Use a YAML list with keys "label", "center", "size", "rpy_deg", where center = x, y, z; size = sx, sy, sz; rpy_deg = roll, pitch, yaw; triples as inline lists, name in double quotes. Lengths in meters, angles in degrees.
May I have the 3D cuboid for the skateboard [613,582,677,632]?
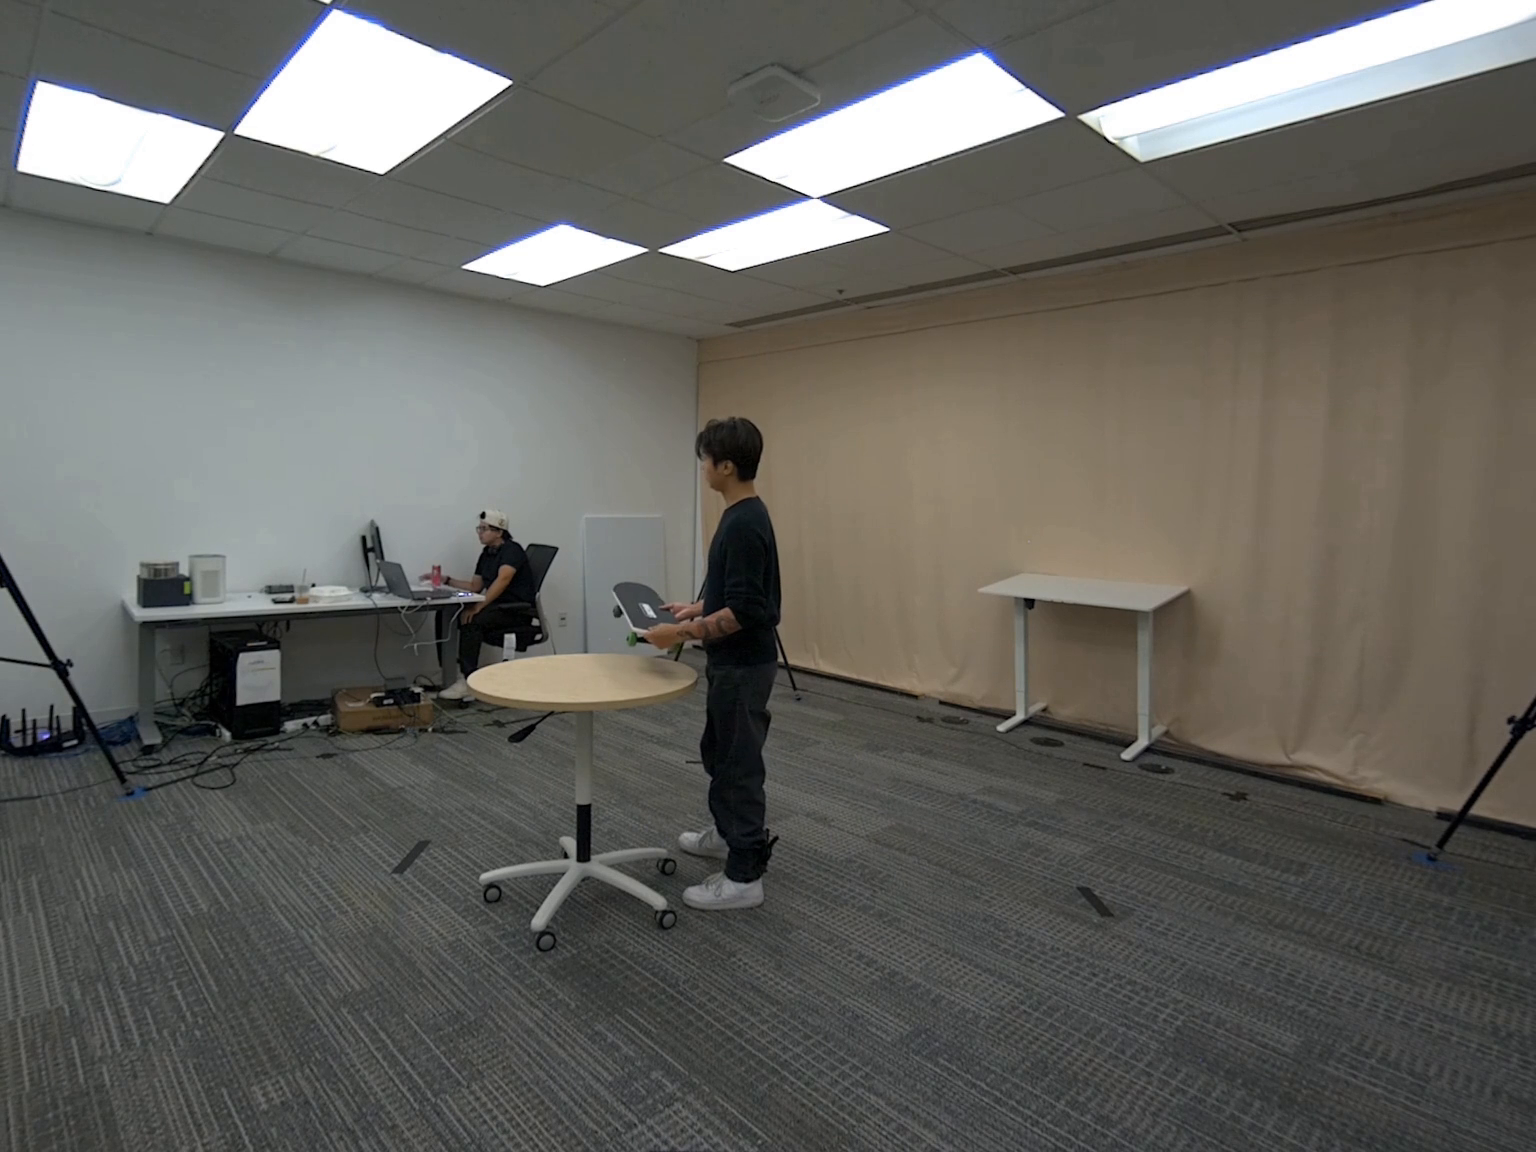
- label: "skateboard"
  center: [-0.453, 0.170, 3.143]
  size: [0.190, 0.110, 0.802]
  rpy_deg: [7, 10, -20]
